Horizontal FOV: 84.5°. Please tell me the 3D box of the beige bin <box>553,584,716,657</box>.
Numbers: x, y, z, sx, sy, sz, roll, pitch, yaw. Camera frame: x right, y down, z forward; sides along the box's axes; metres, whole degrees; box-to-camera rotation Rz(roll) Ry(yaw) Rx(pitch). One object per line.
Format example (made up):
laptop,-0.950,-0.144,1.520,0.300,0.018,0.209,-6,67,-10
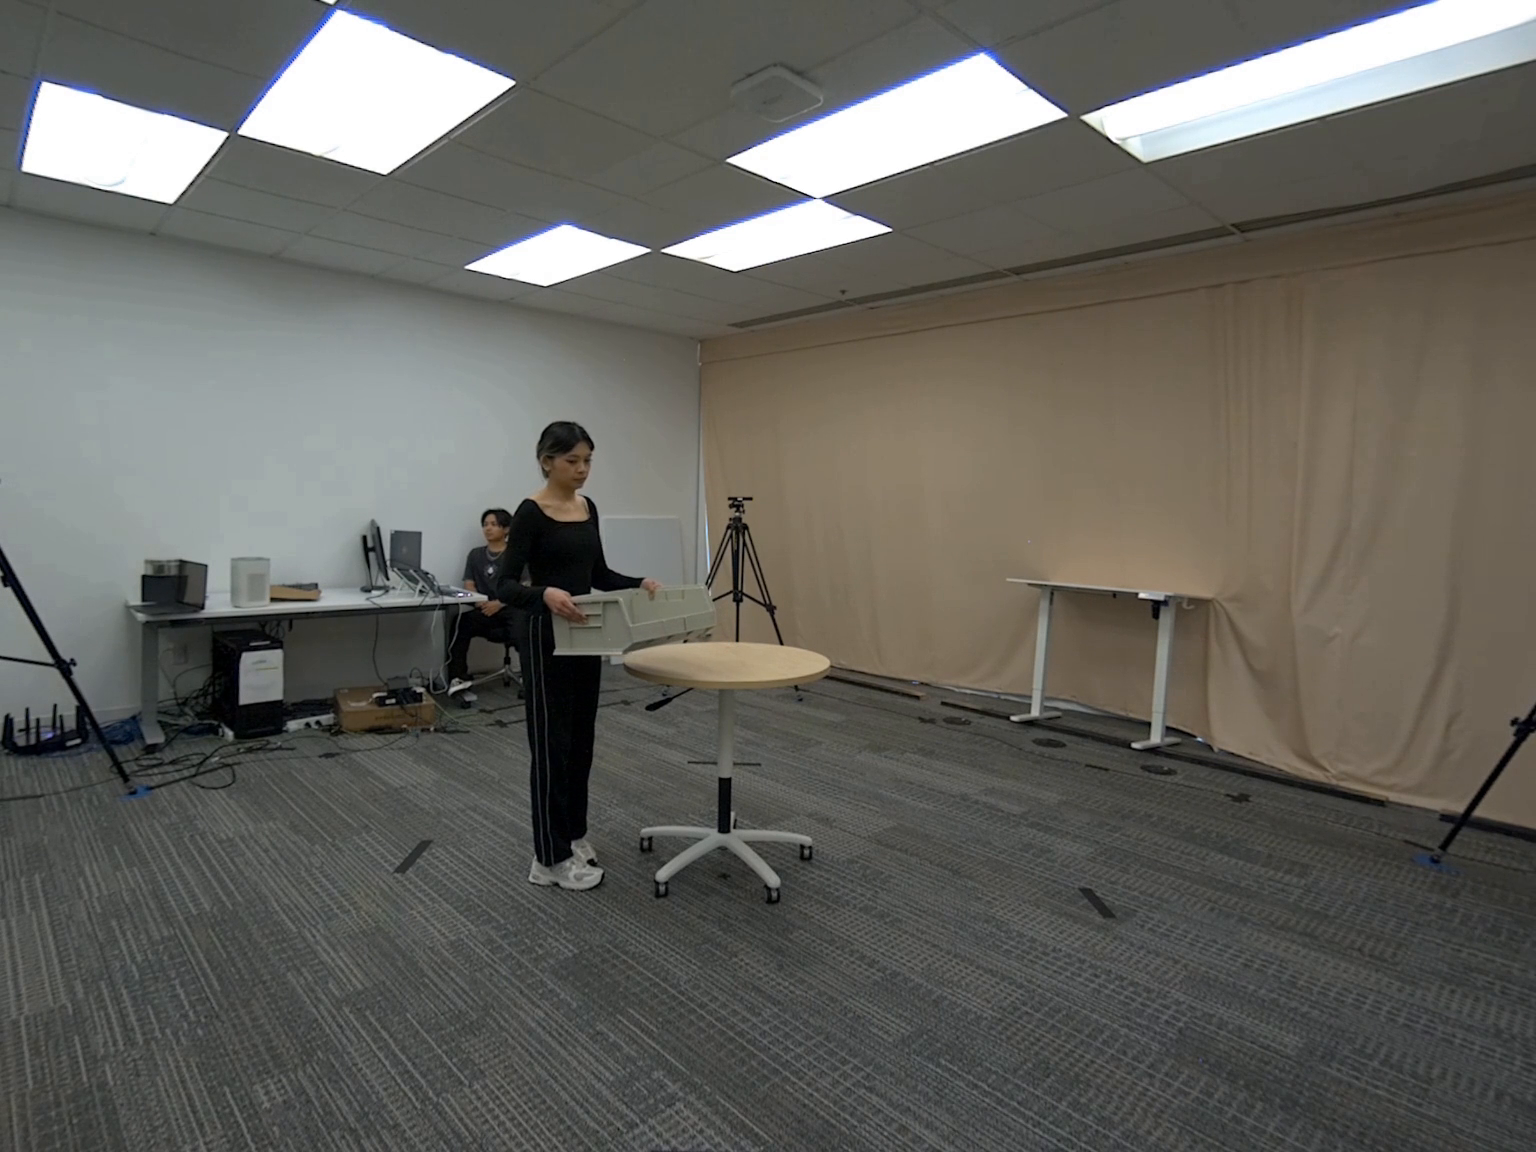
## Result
beige bin,-0.457,0.145,2.795,0.385,0.189,0.414,-6,2,37
